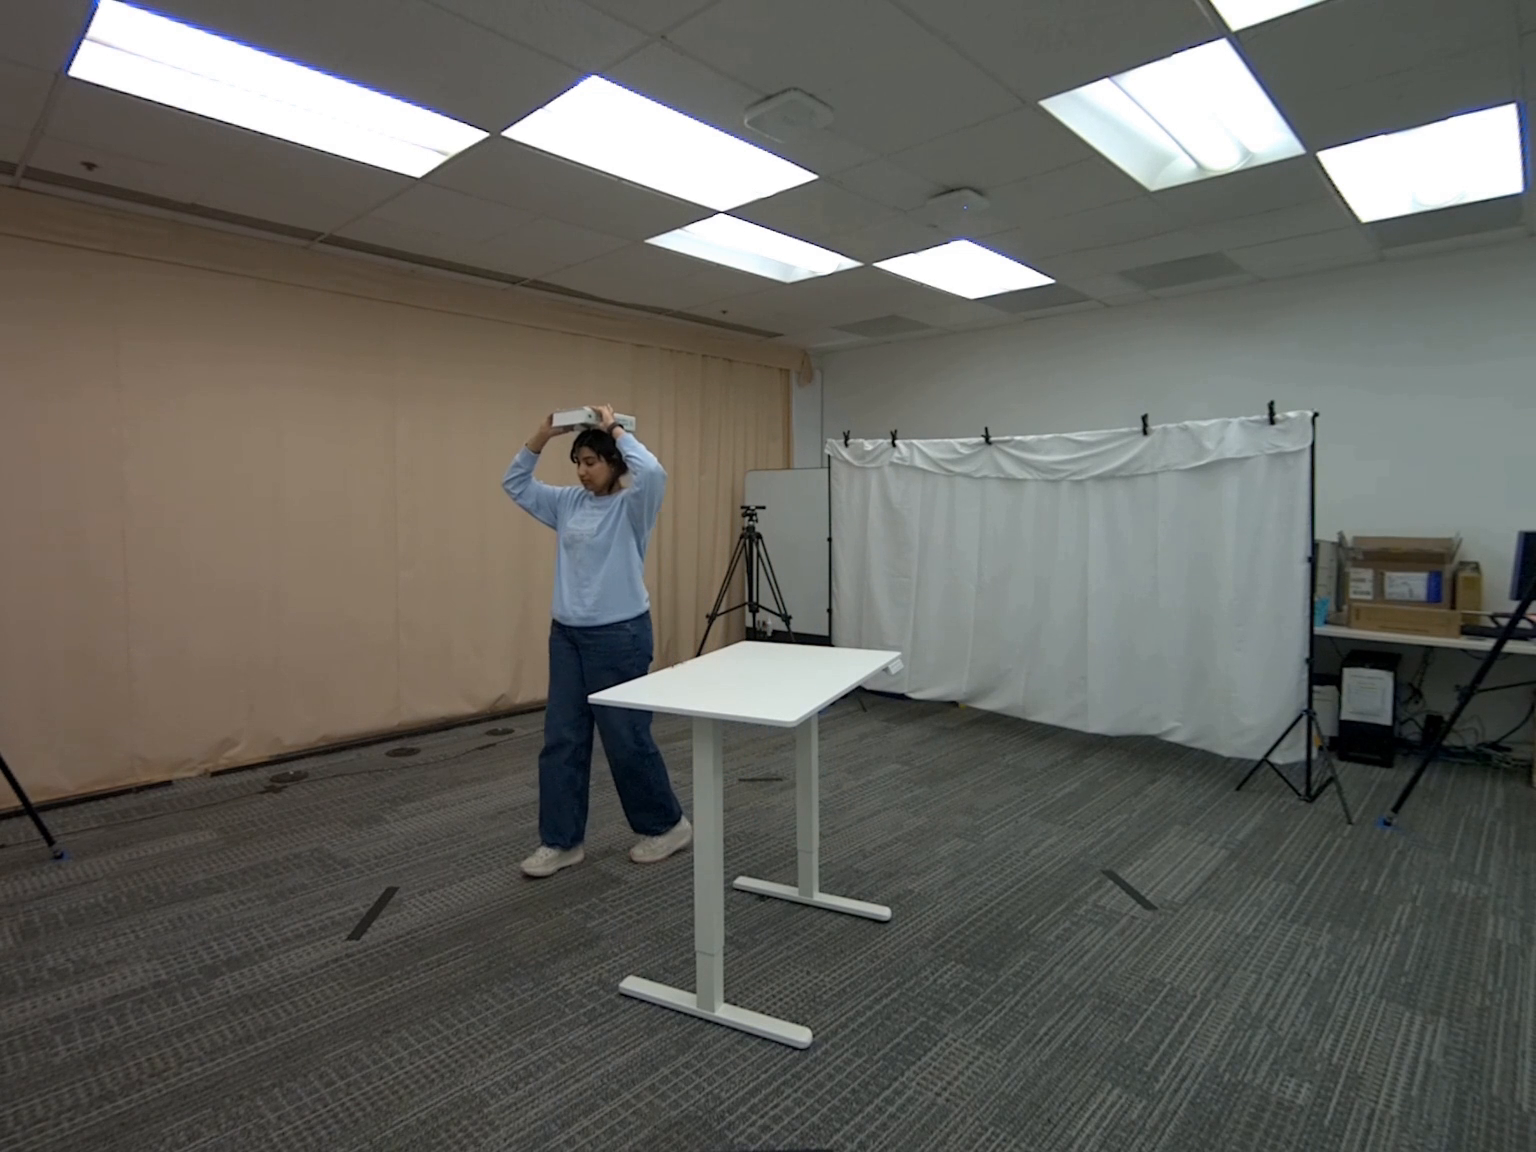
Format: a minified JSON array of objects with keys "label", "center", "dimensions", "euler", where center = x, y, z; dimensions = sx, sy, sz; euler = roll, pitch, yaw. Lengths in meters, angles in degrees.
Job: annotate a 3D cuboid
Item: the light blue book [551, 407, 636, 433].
[{"label":"light blue book","center":[-0.657,-0.584,3.210],"dimensions":[0.197,0.059,0.254],"euler":[2,3,29]}]
